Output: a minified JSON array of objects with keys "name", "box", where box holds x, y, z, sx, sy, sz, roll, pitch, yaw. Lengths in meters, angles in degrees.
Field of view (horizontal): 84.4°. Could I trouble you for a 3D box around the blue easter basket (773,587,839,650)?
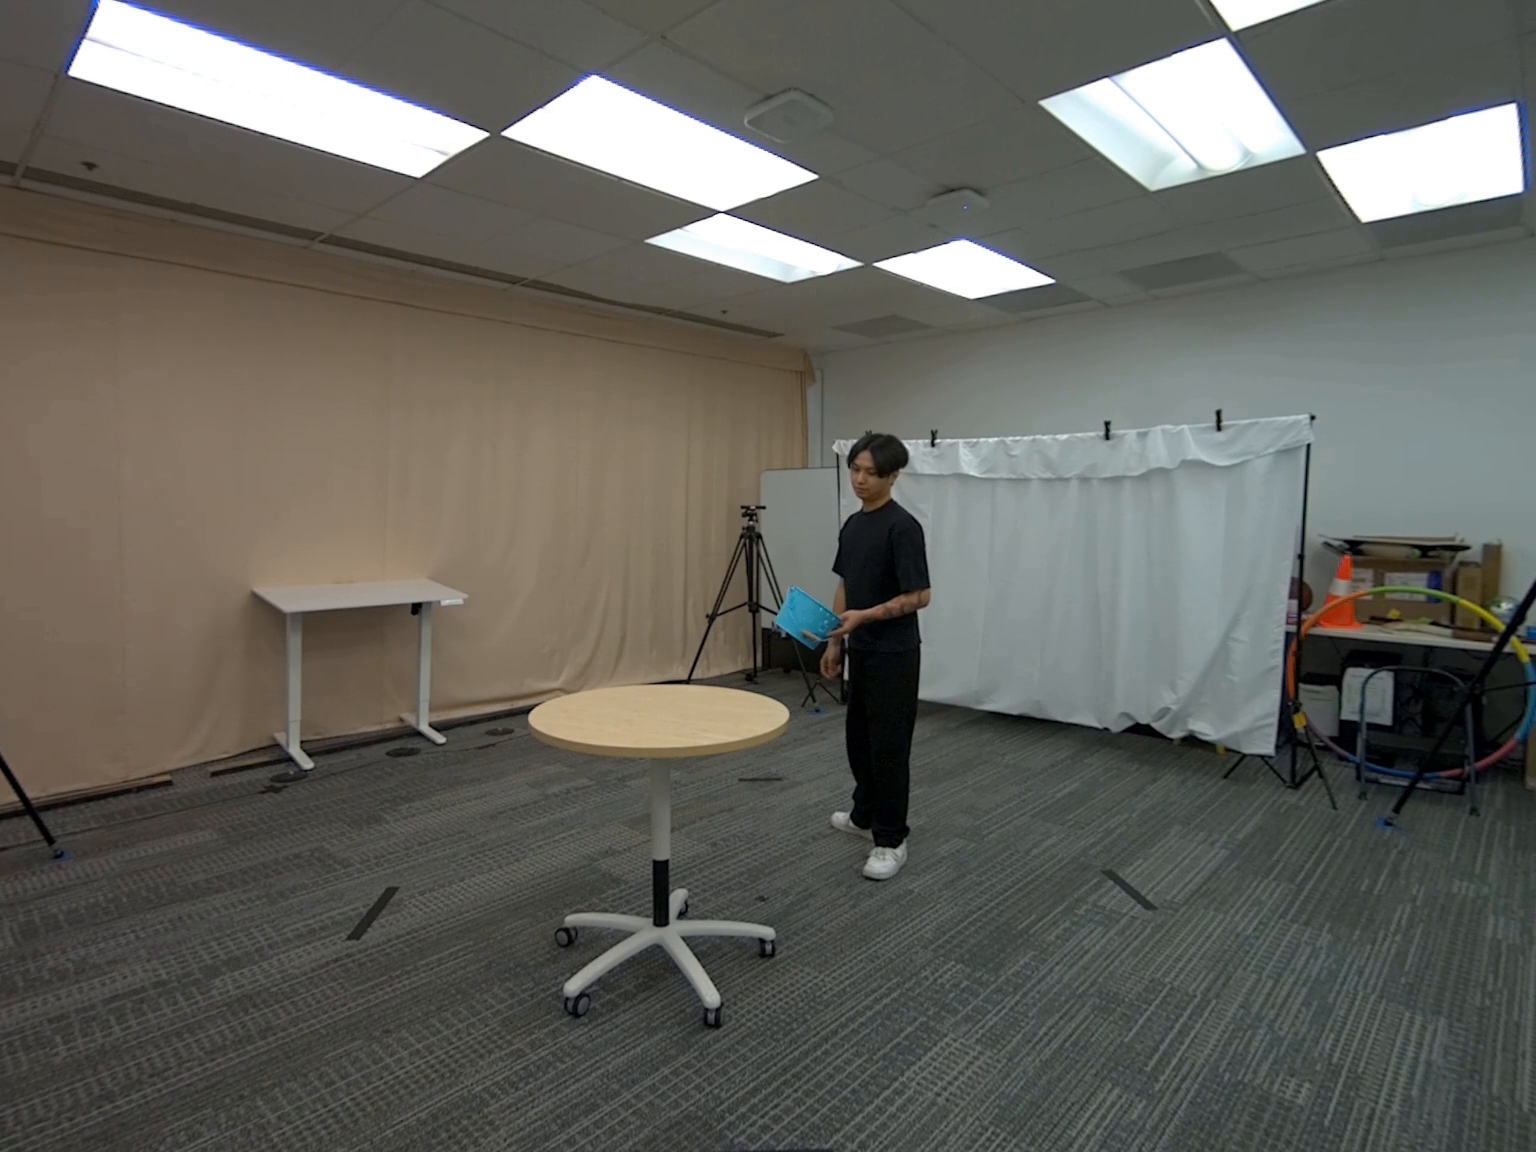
[{"name":"blue easter basket","box":[0.146,0.162,3.117,0.243,0.156,0.244,35,-2,-1]}]
